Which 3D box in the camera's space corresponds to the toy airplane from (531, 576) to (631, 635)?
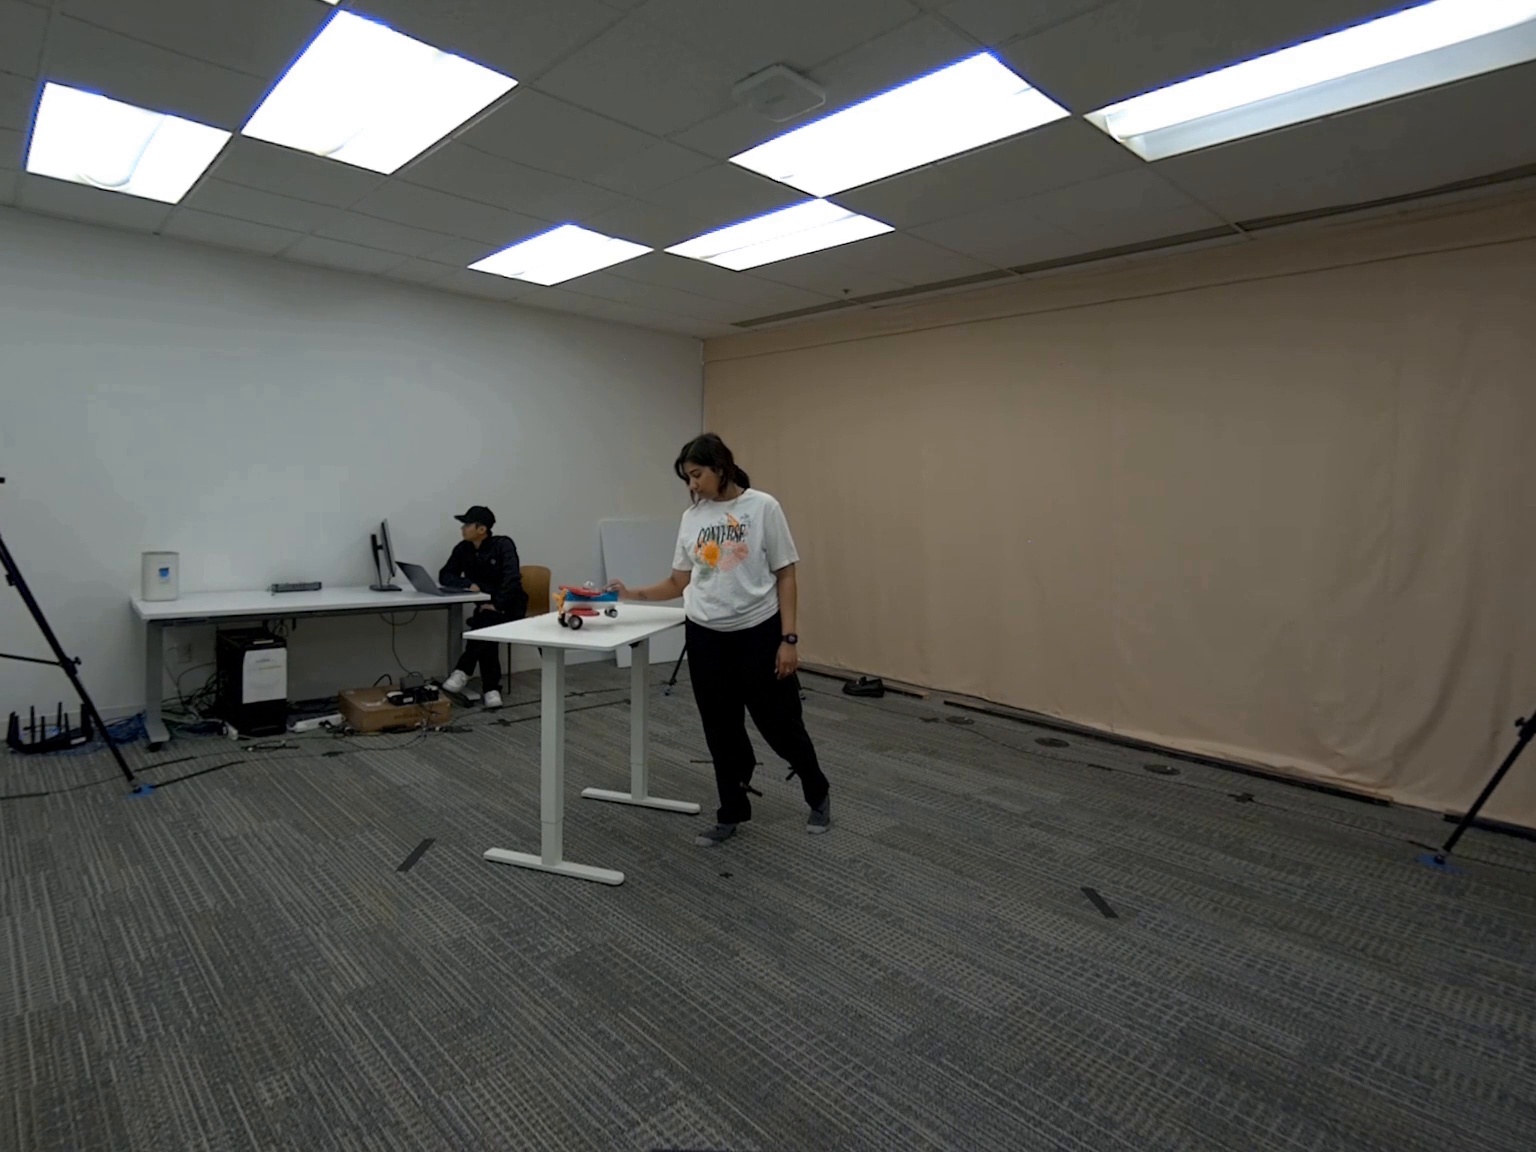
[{"bbox_3d":[-0.719,0.109,3.260,0.255,0.155,0.257,-3,11,25],"label":"toy airplane"}]
